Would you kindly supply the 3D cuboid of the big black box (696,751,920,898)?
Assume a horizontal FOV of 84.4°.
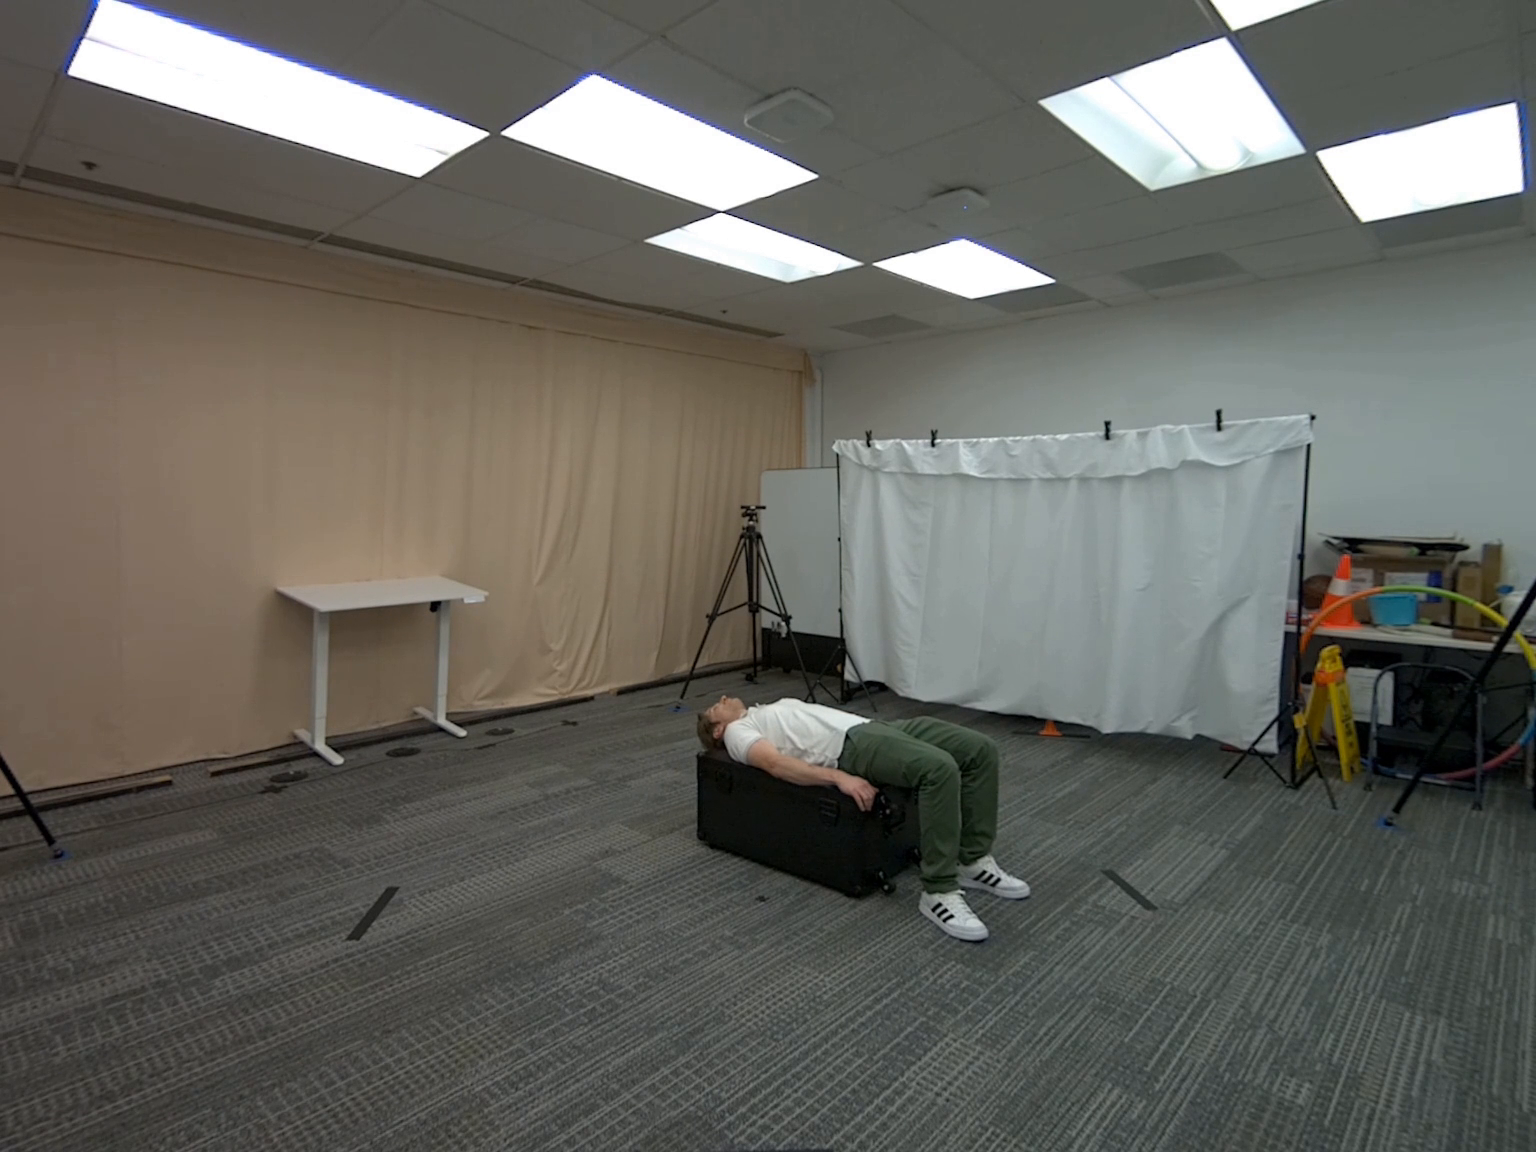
[{"bbox_3d":[0.192,0.925,3.347,0.897,0.384,0.507,4,5,39],"label":"big black box"}]
